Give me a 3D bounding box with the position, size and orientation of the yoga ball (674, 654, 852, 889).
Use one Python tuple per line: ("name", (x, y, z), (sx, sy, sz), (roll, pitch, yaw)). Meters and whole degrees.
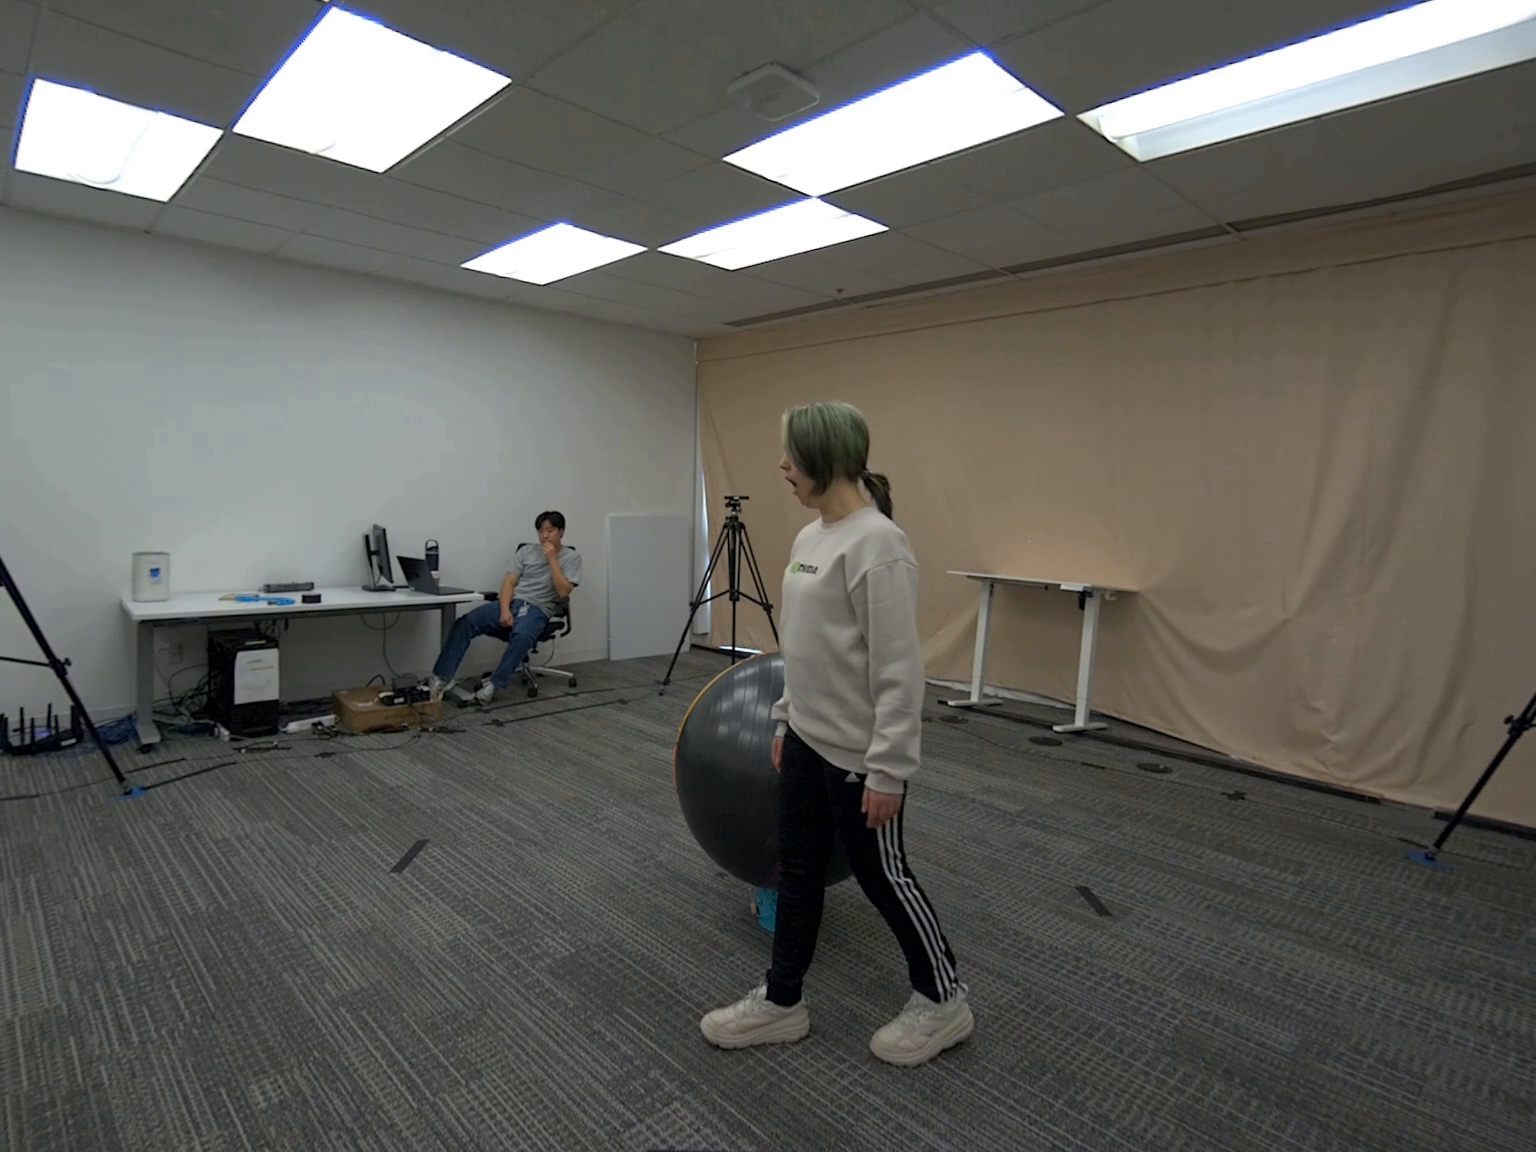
("yoga ball", (0.066, 0.632, 2.756), (0.757, 0.756, 0.761), (1, 4, -1))
